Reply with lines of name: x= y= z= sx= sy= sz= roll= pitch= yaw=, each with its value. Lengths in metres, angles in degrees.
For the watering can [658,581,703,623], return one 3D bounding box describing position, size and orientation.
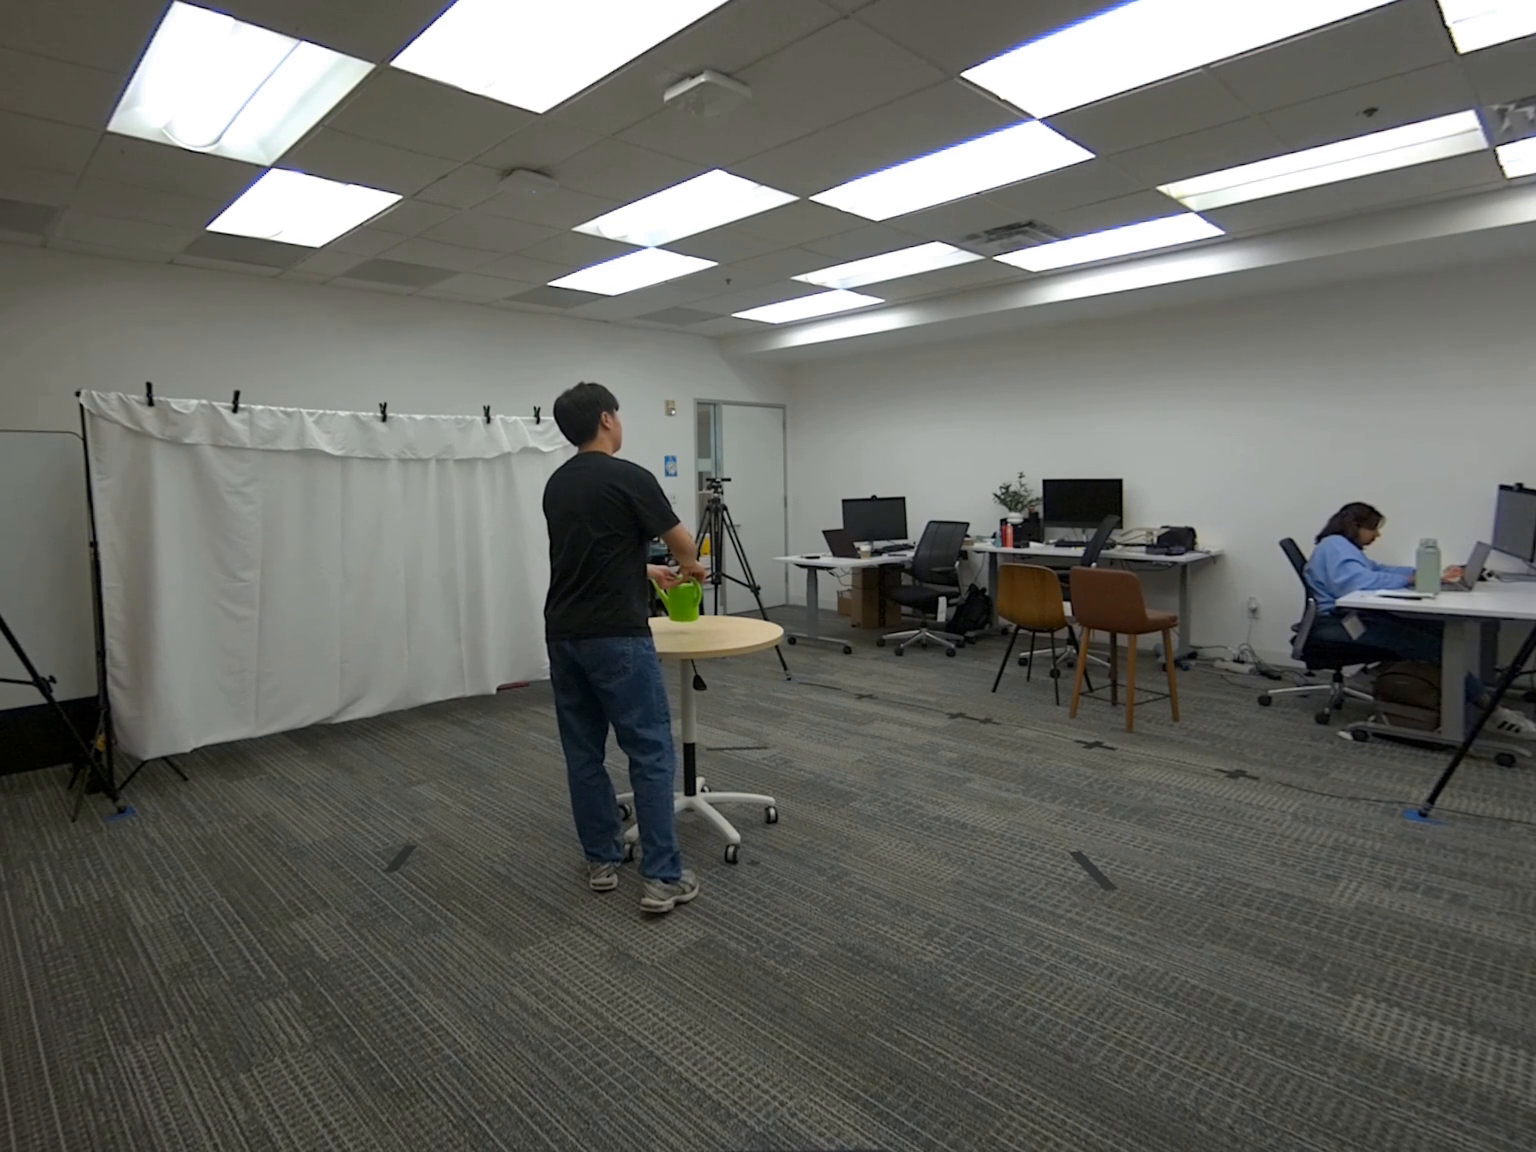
watering can: x=-0.364 y=0.084 z=3.376 sx=0.287 sy=0.175 sz=0.096 roll=8 pitch=13 yaw=44
